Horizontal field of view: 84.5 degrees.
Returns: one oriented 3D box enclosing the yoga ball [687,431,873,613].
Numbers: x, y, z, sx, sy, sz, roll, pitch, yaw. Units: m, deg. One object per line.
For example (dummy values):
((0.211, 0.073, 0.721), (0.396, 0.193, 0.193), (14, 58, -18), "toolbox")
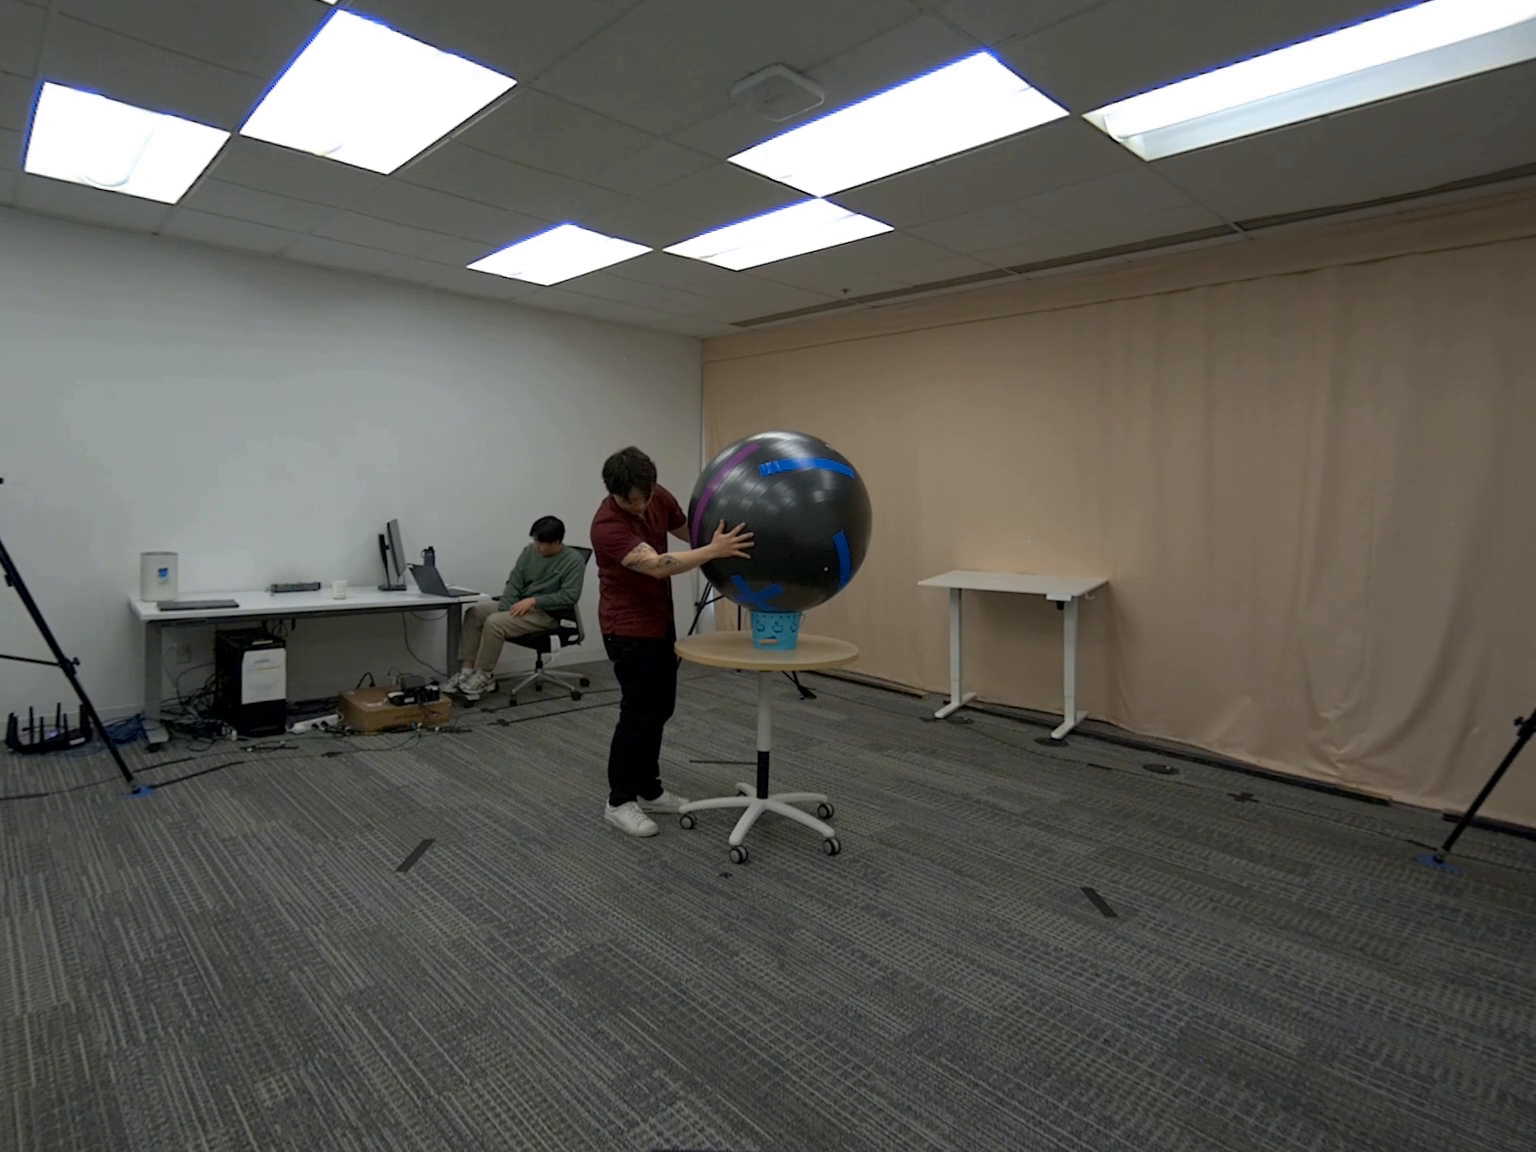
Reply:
((0.040, -0.216, 3.481), (0.757, 0.756, 0.761), (1, 4, -1), "yoga ball")
